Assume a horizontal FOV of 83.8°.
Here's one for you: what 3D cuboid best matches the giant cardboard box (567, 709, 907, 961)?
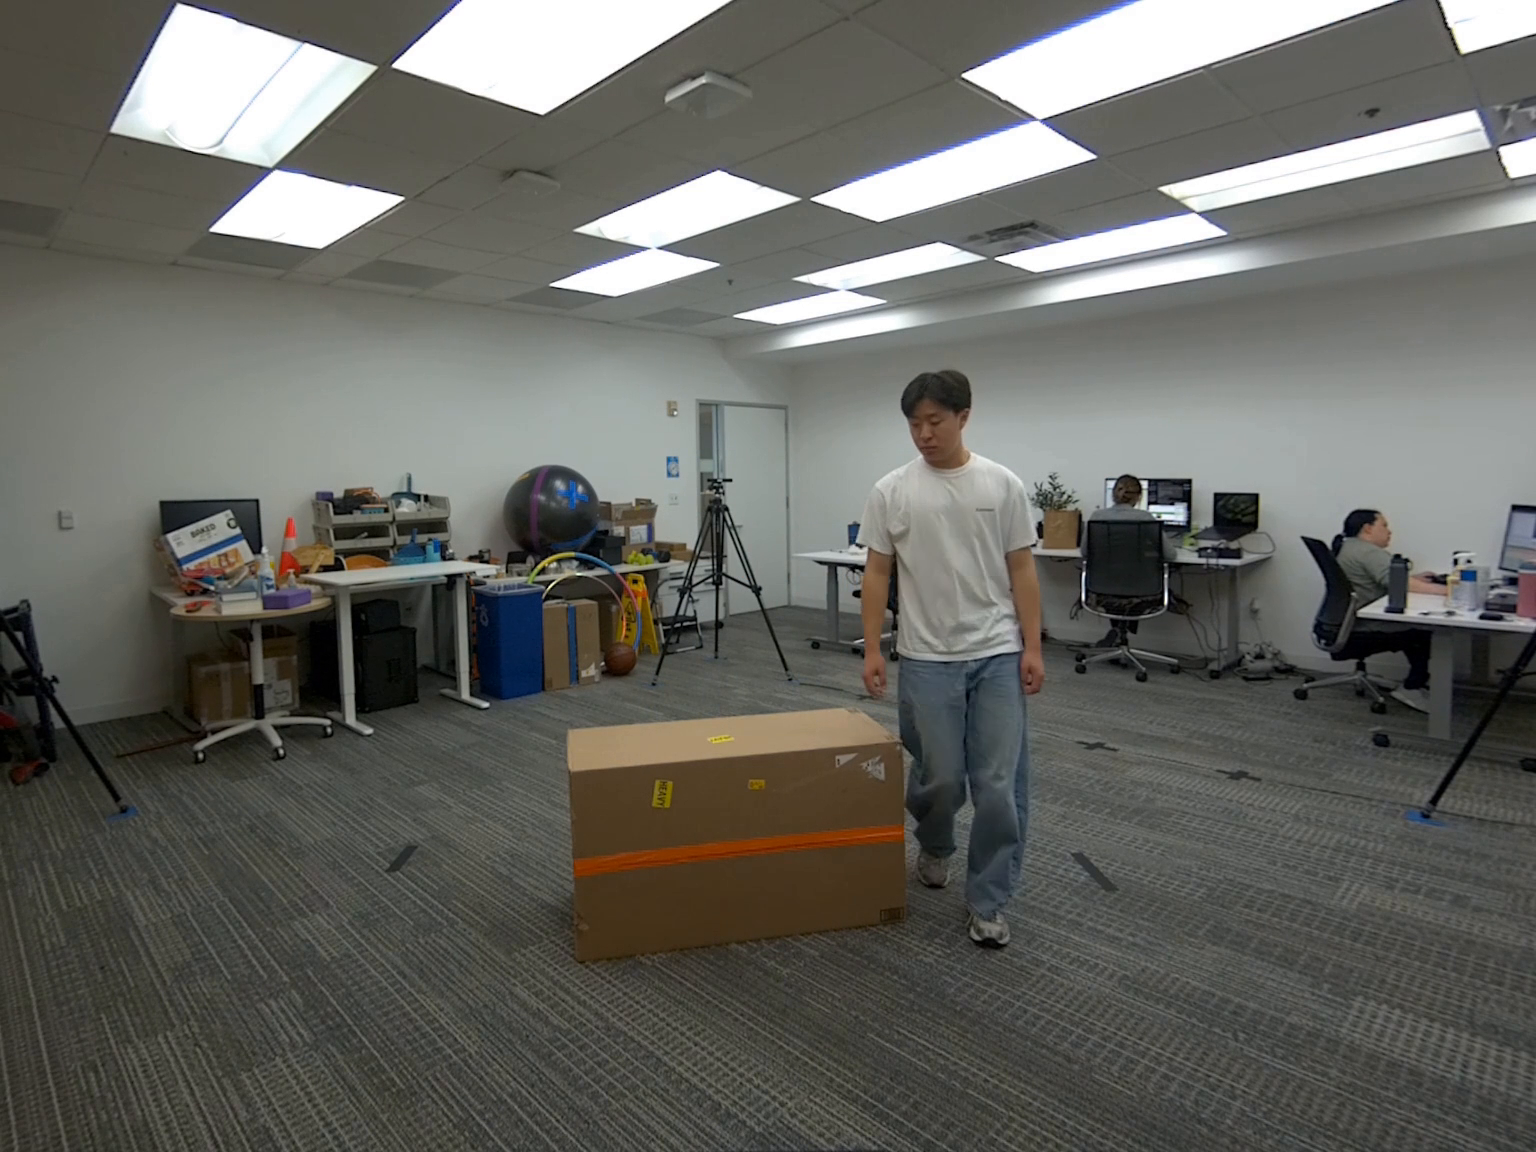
[{"bbox_3d":[-0.119,0.797,2.769,1.015,0.575,0.432,-2,5,-11],"label":"giant cardboard box"}]
